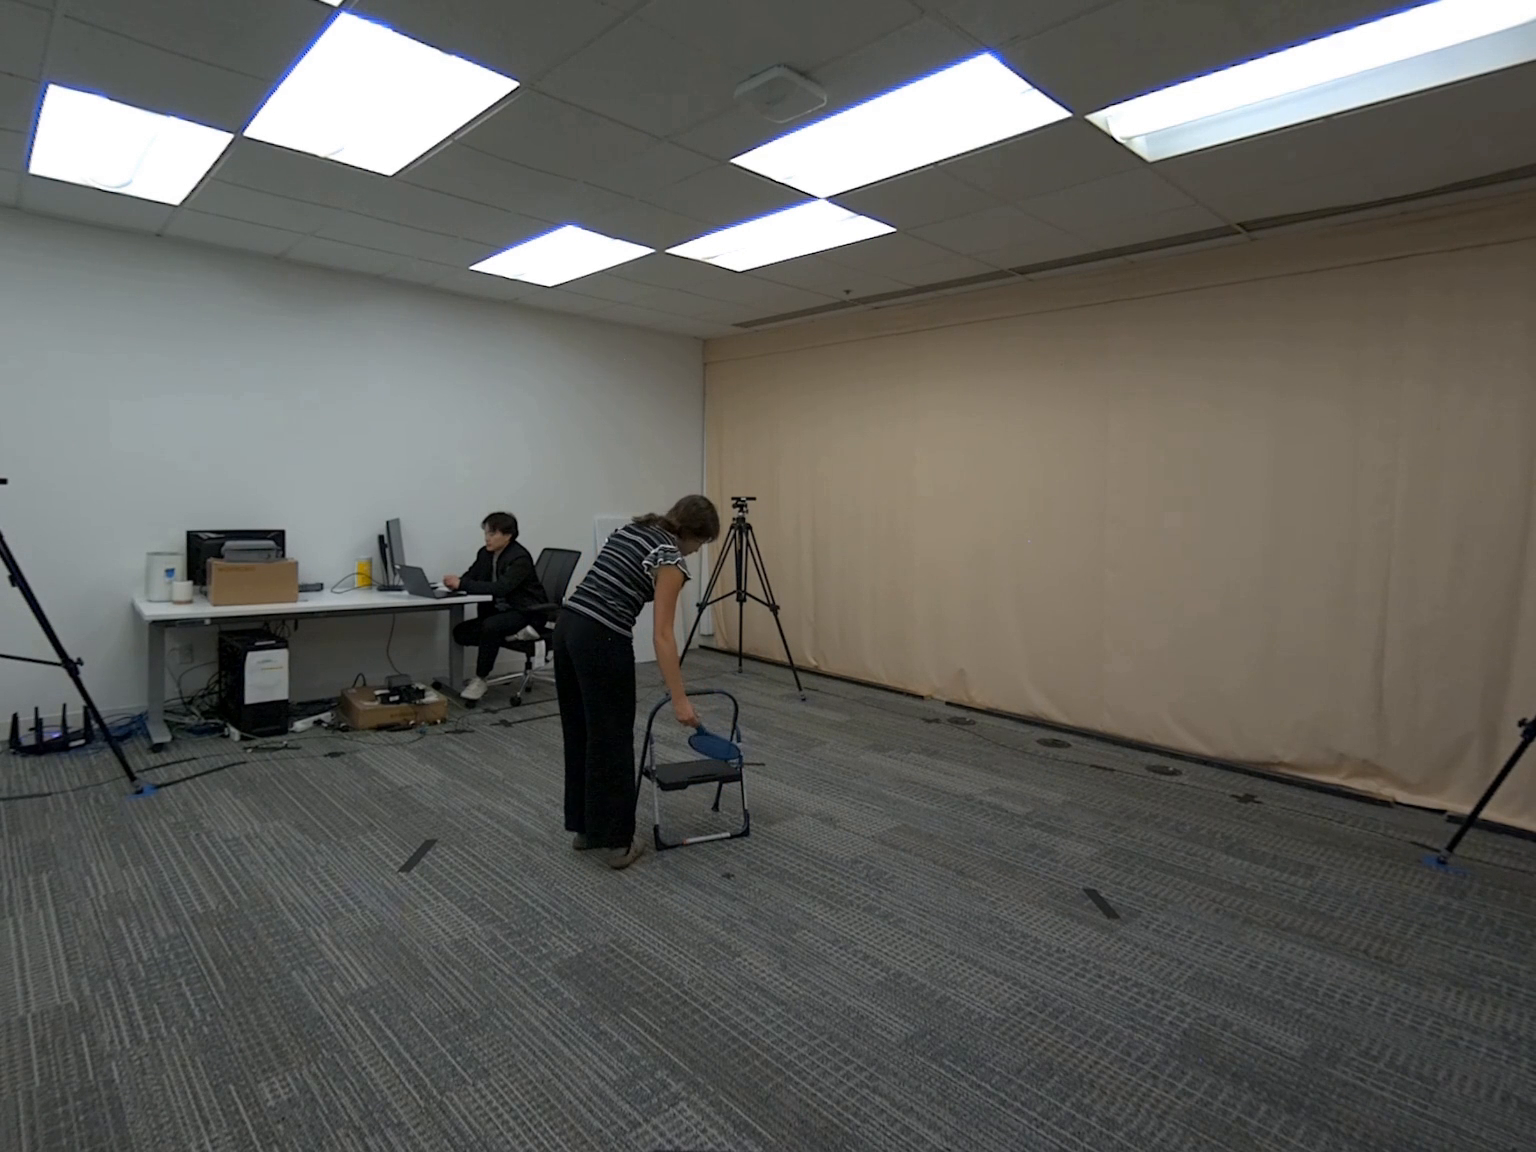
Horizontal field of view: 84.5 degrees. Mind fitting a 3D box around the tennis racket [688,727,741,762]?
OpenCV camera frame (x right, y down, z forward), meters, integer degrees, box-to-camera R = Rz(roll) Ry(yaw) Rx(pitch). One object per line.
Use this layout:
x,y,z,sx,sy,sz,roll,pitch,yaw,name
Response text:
-0.252,0.649,3.335,0.217,0.032,0.420,0,-36,19,tennis racket
